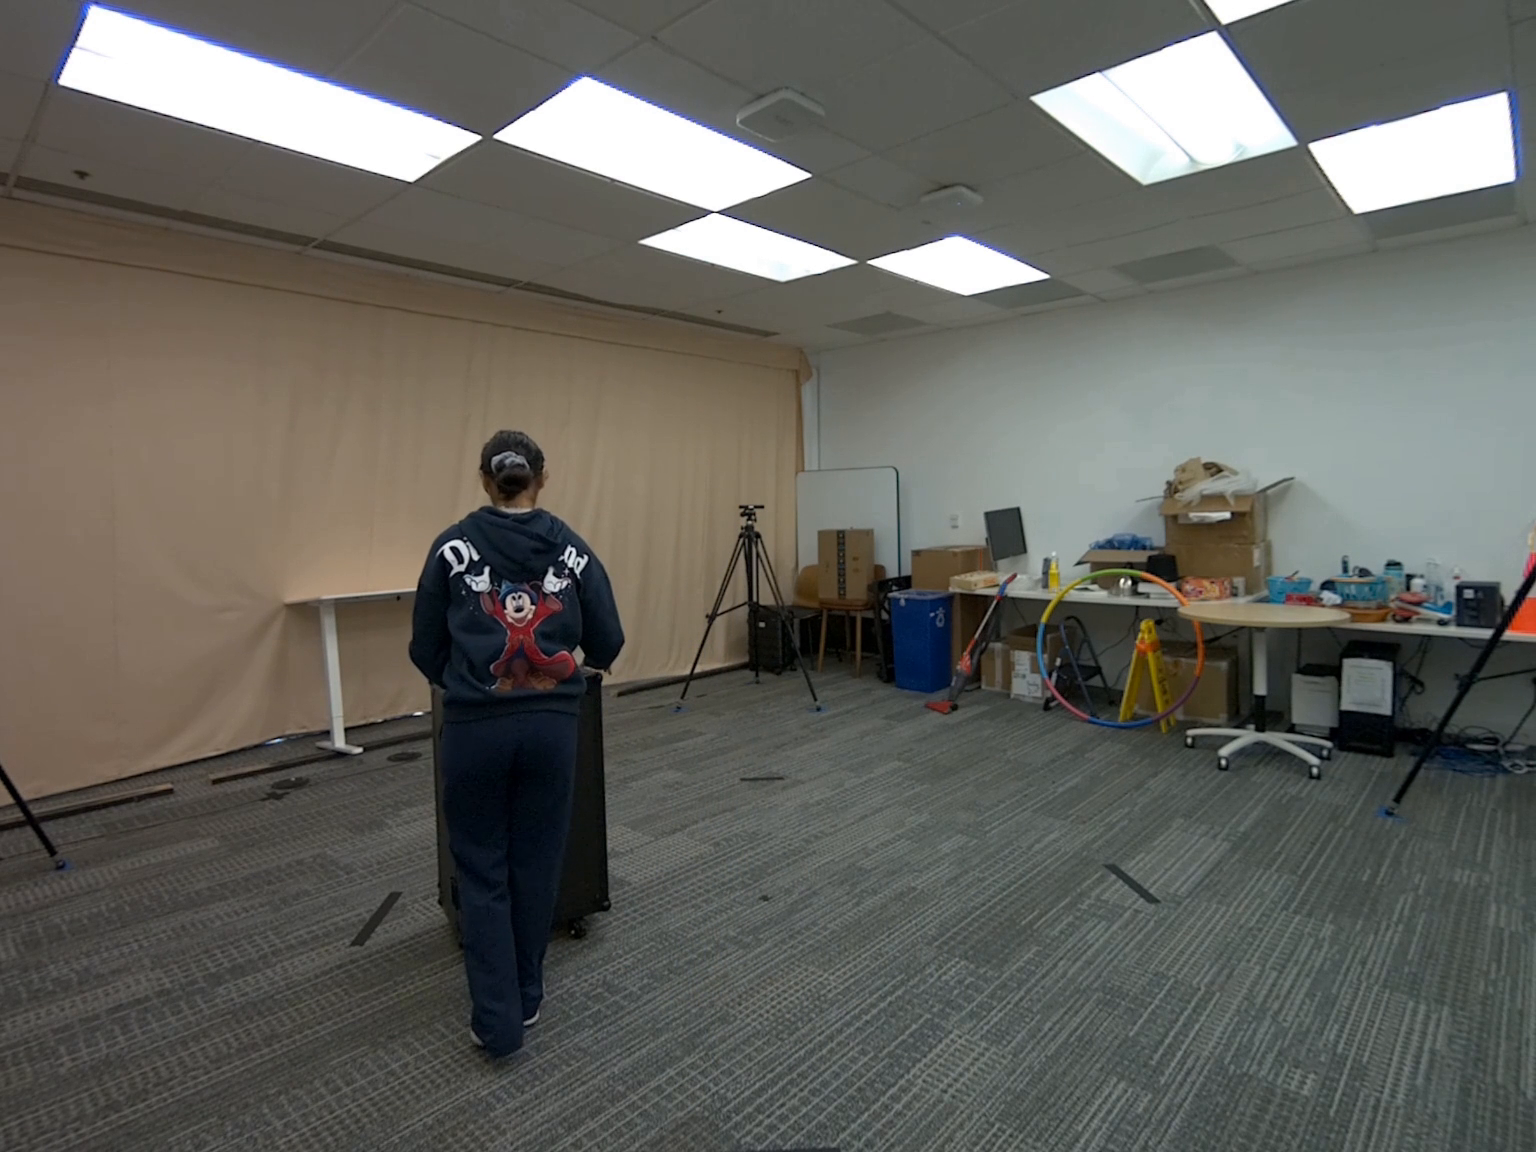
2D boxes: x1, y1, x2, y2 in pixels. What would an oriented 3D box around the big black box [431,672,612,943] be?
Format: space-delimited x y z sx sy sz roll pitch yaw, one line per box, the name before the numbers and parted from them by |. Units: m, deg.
big black box | -0.839 0.752 2.803 0.507 0.860 0.407 -3 2 -30
